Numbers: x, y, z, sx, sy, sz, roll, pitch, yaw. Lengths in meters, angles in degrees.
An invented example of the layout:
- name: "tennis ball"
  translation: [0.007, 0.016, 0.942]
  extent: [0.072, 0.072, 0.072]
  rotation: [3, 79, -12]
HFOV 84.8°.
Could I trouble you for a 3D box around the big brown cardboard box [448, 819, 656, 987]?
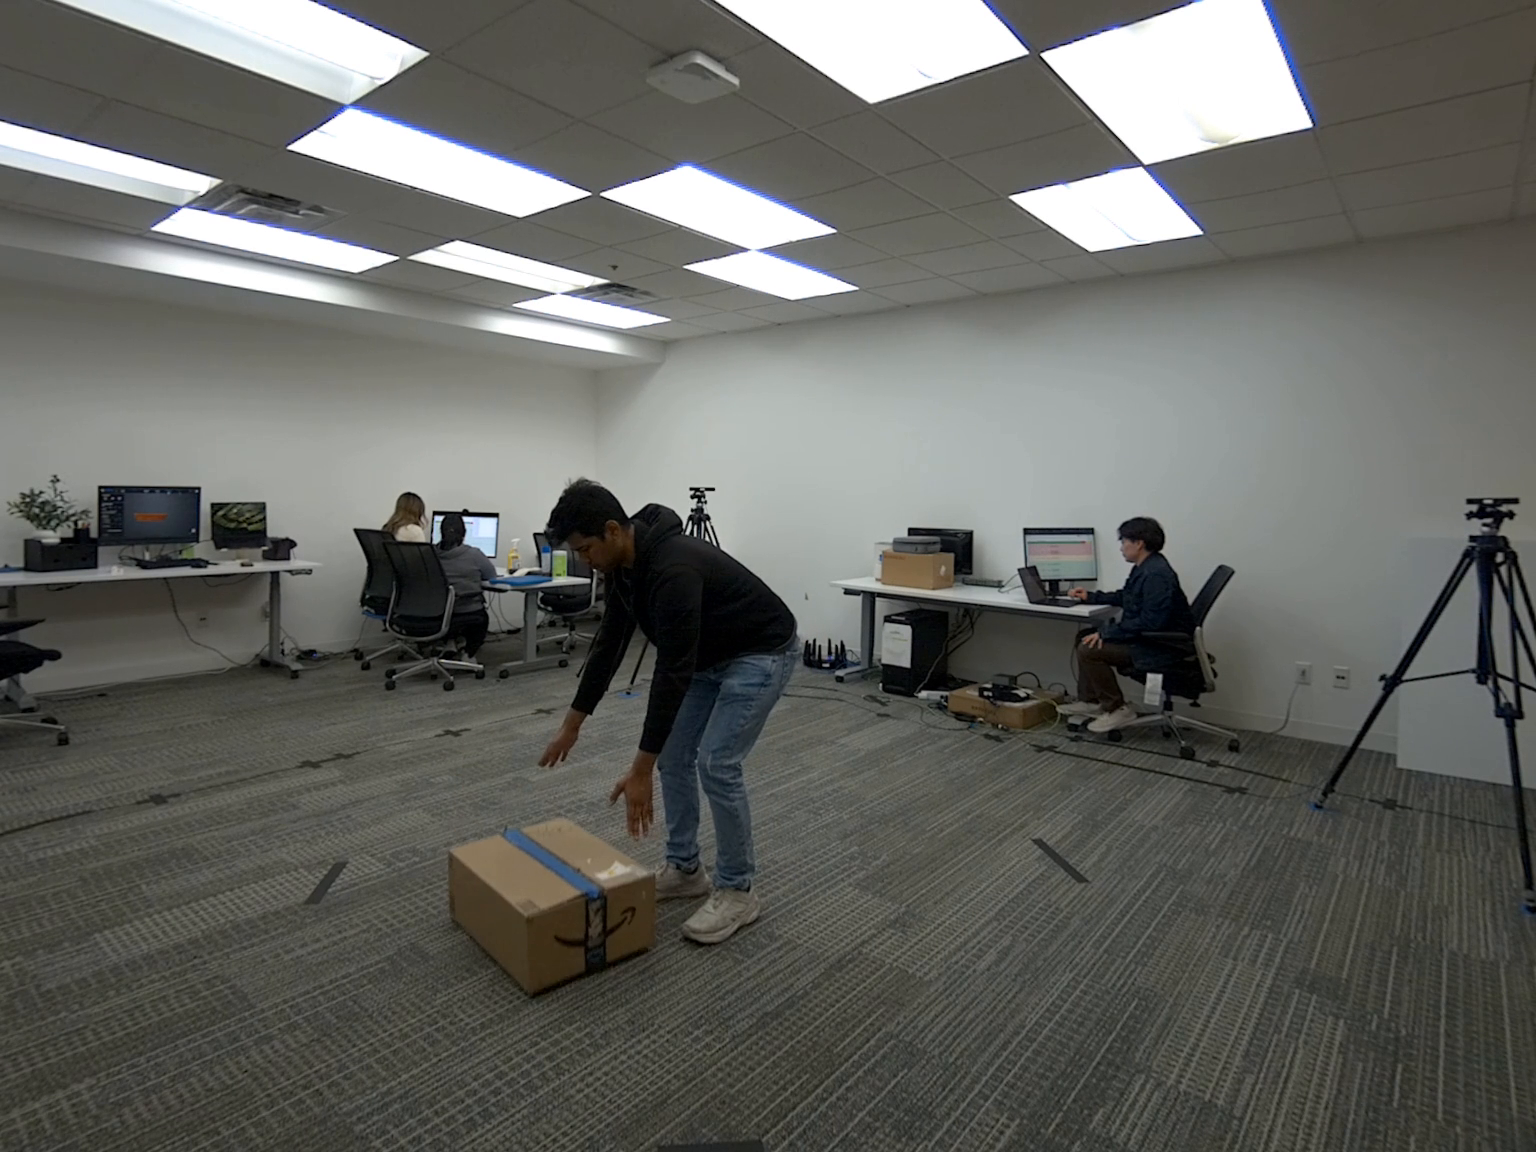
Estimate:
- name: "big brown cardboard box"
  translation: [-0.675, 0.930, 2.614]
  extent: [0.405, 0.232, 0.609]
  rotation: [-4, 7, -40]
